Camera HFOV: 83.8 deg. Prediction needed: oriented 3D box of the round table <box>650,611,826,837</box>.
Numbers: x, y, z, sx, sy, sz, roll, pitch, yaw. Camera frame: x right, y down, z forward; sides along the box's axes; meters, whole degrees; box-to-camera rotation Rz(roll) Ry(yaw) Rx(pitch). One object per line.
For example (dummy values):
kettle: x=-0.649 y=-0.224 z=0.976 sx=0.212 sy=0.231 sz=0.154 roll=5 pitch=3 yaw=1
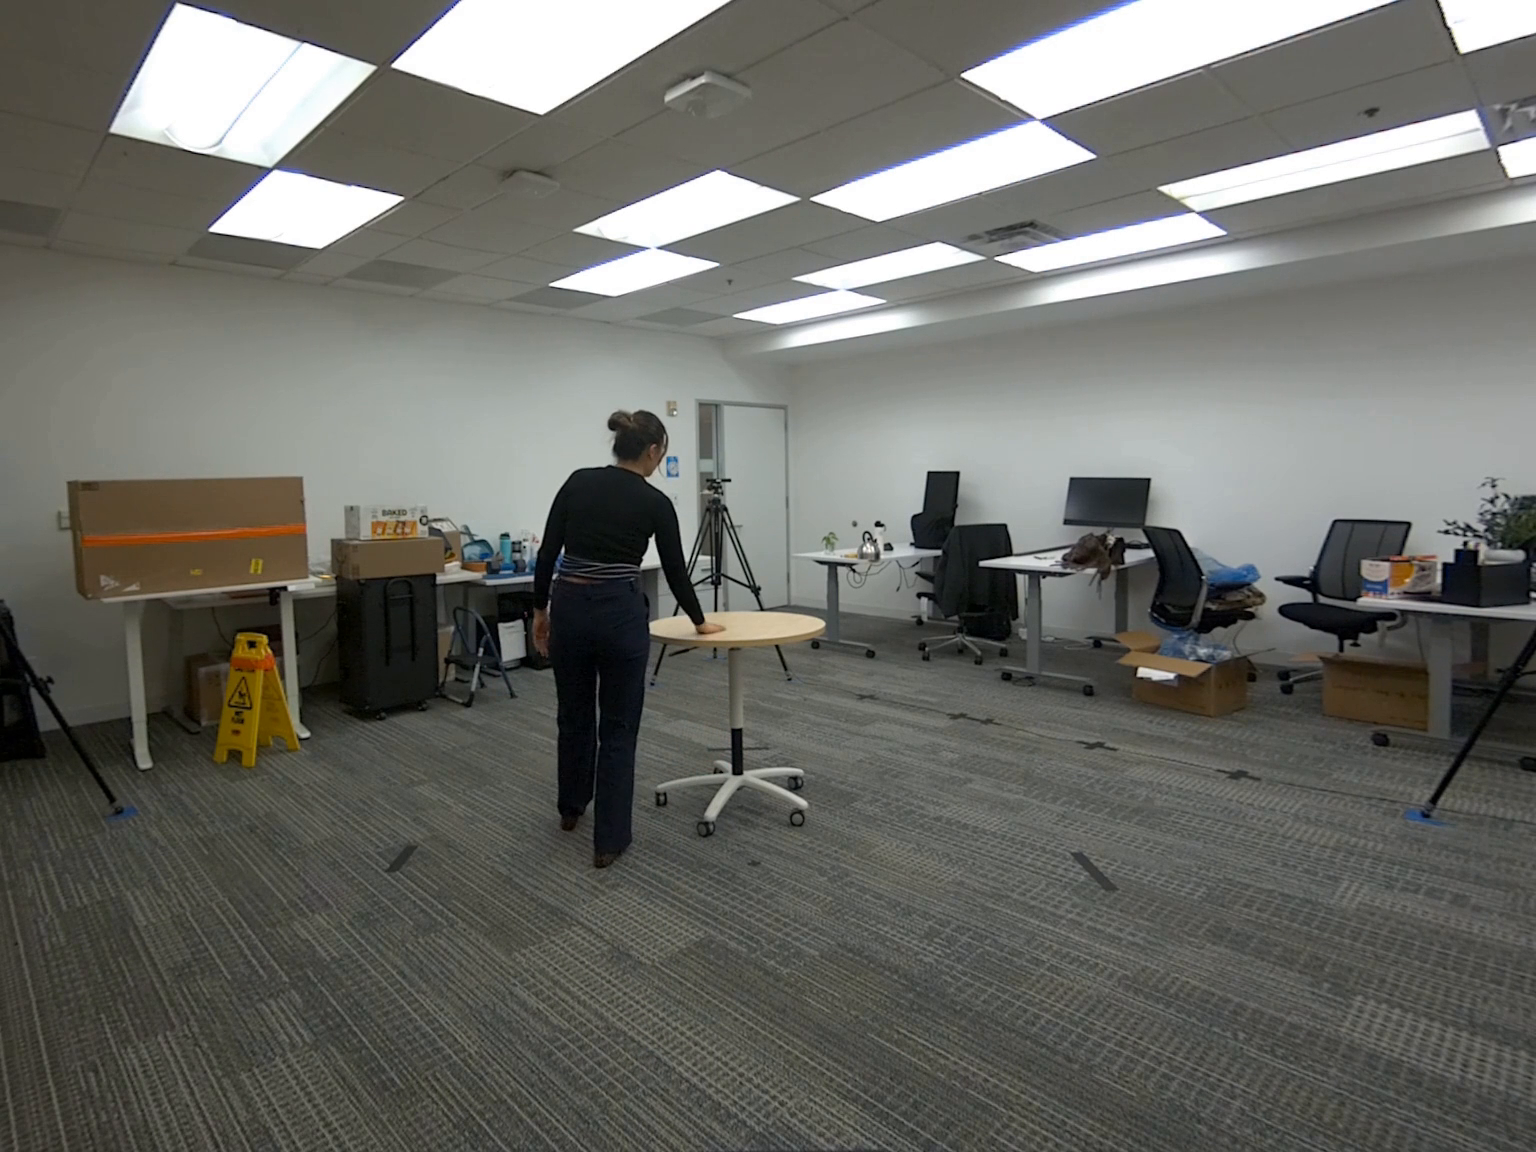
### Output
round table: x=-0.131 y=0.598 z=3.636 sx=0.763 sy=0.791 sz=0.767 roll=-1 pitch=4 yaw=-2
